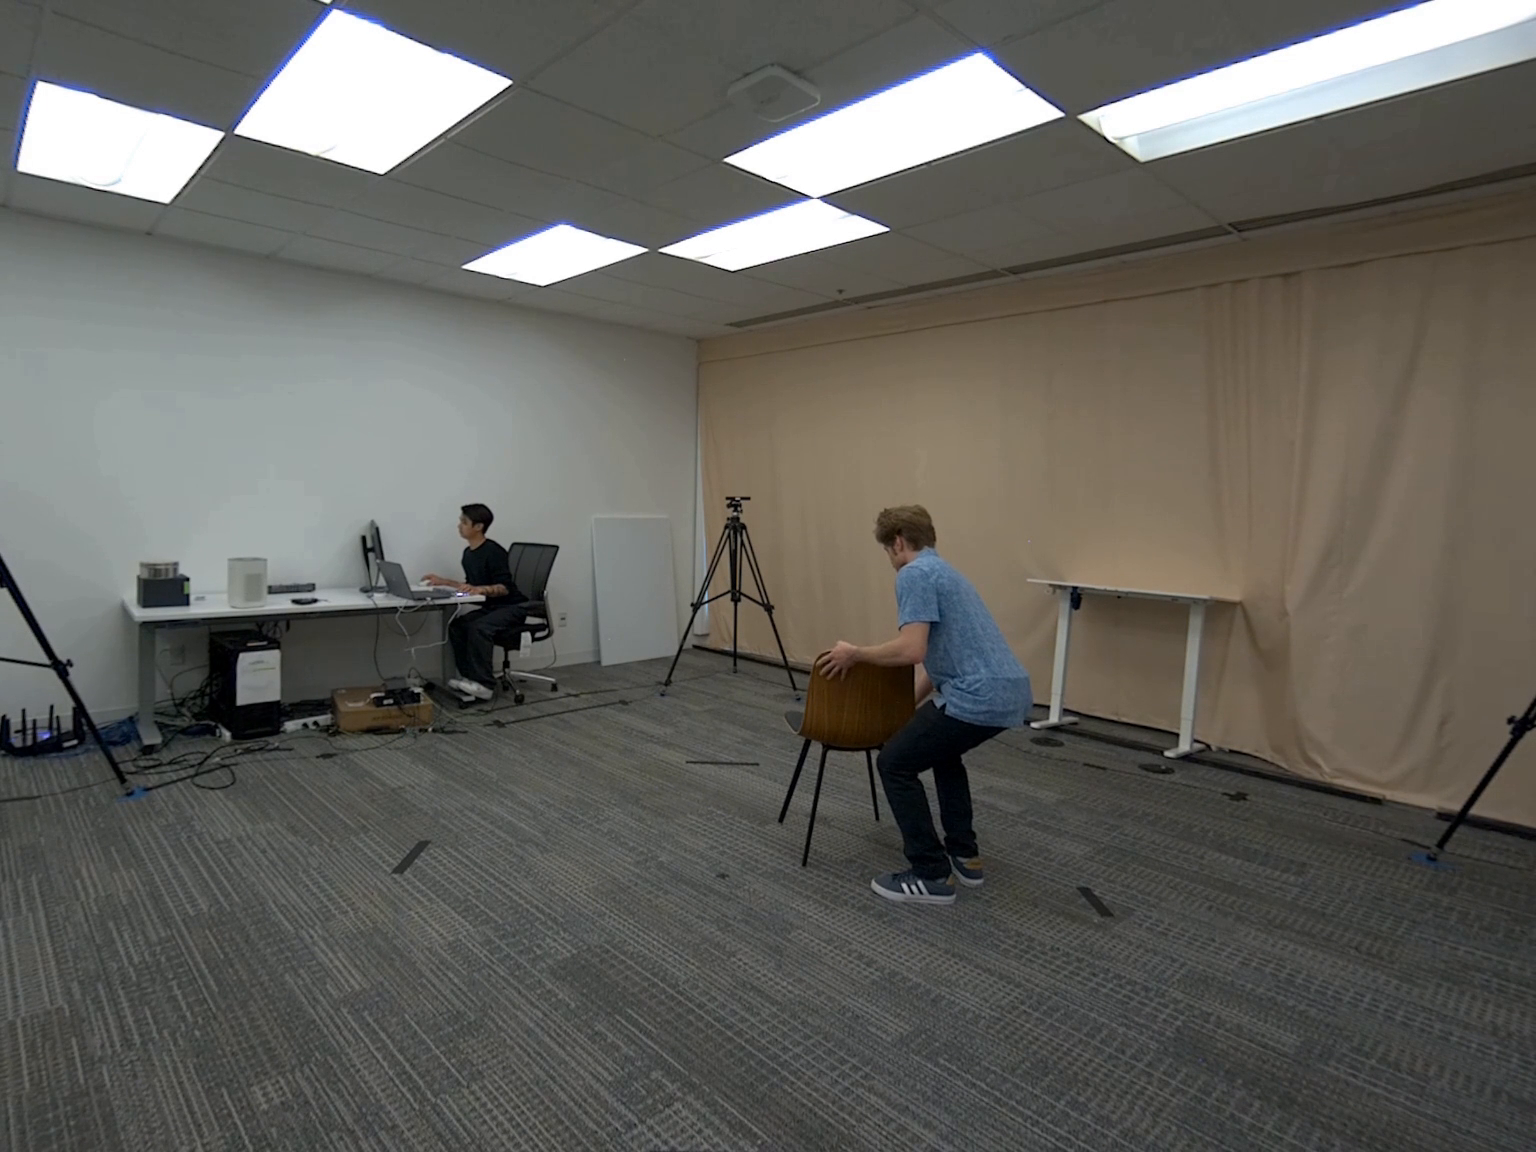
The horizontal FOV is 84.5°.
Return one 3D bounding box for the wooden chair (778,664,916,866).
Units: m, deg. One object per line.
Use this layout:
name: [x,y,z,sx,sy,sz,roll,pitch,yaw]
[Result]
wooden chair: [0.304,0.655,3.429,0.474,0.873,0.530,1,7,-11]
